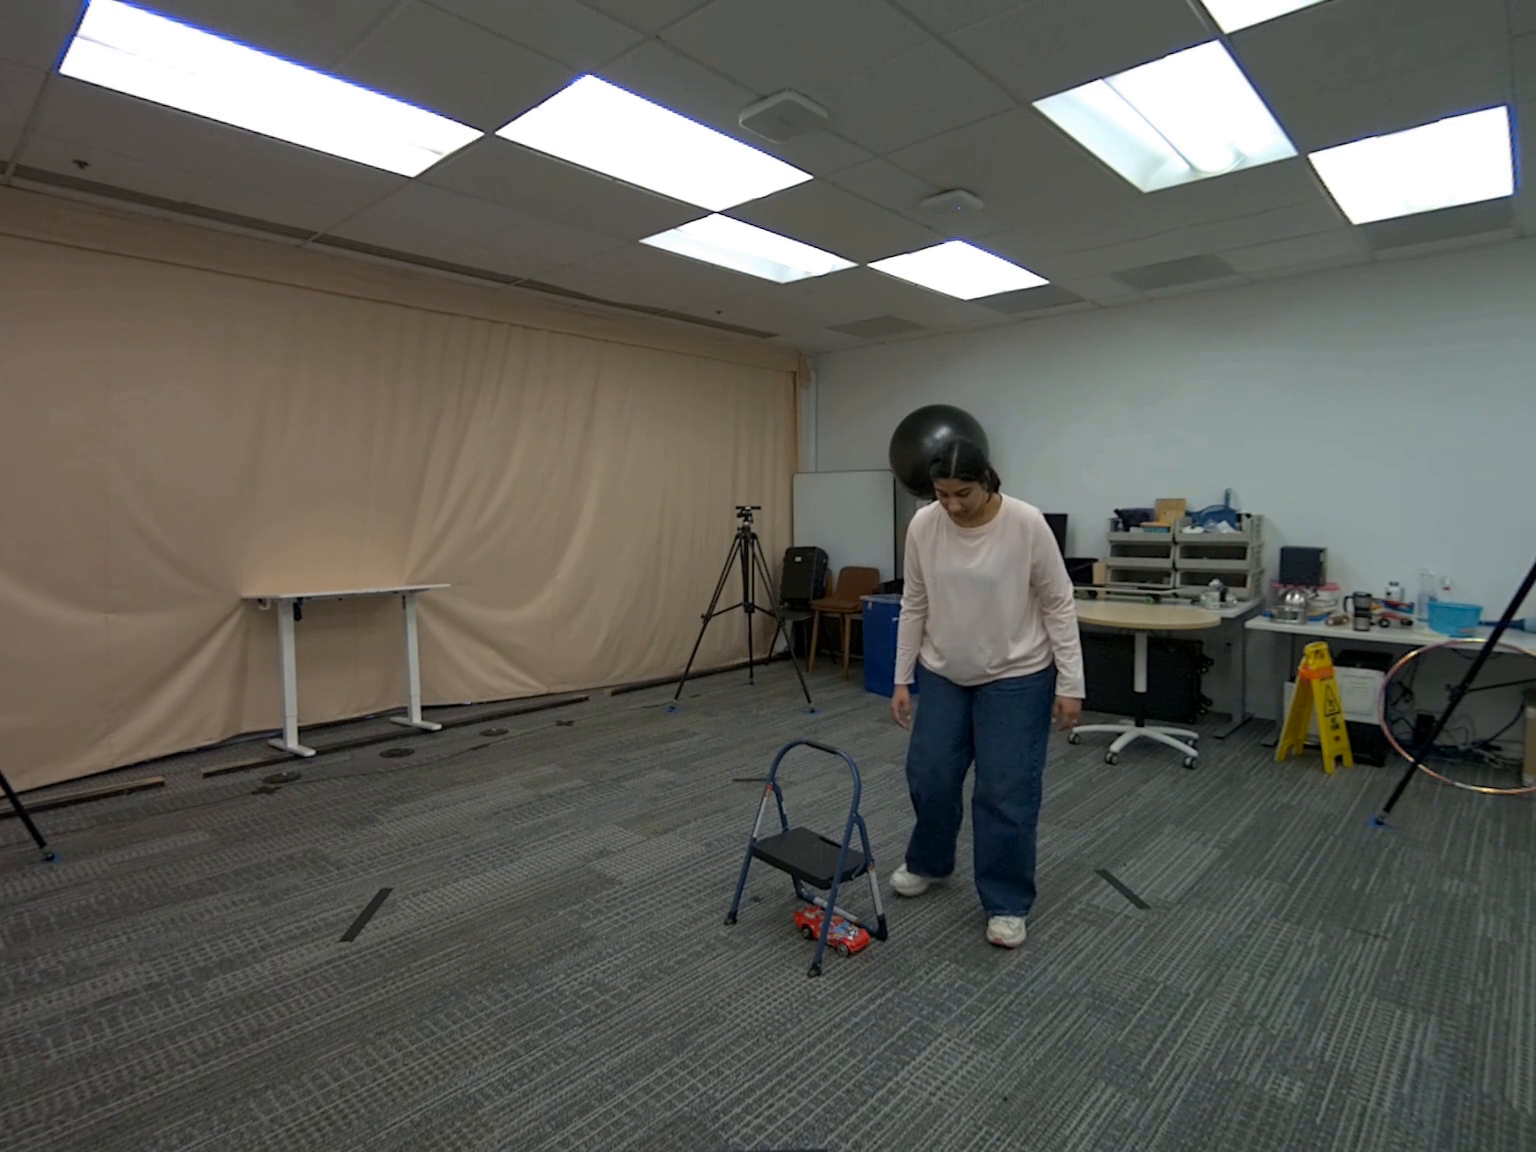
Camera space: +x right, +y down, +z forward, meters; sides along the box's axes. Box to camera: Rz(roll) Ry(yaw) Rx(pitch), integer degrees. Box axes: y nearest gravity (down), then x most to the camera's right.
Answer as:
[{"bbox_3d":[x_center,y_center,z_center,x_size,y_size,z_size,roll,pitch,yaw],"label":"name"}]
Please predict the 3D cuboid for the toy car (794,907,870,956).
[{"bbox_3d":[0.204,1.138,2.709,0.264,0.083,0.126,18,16,42],"label":"toy car"}]
